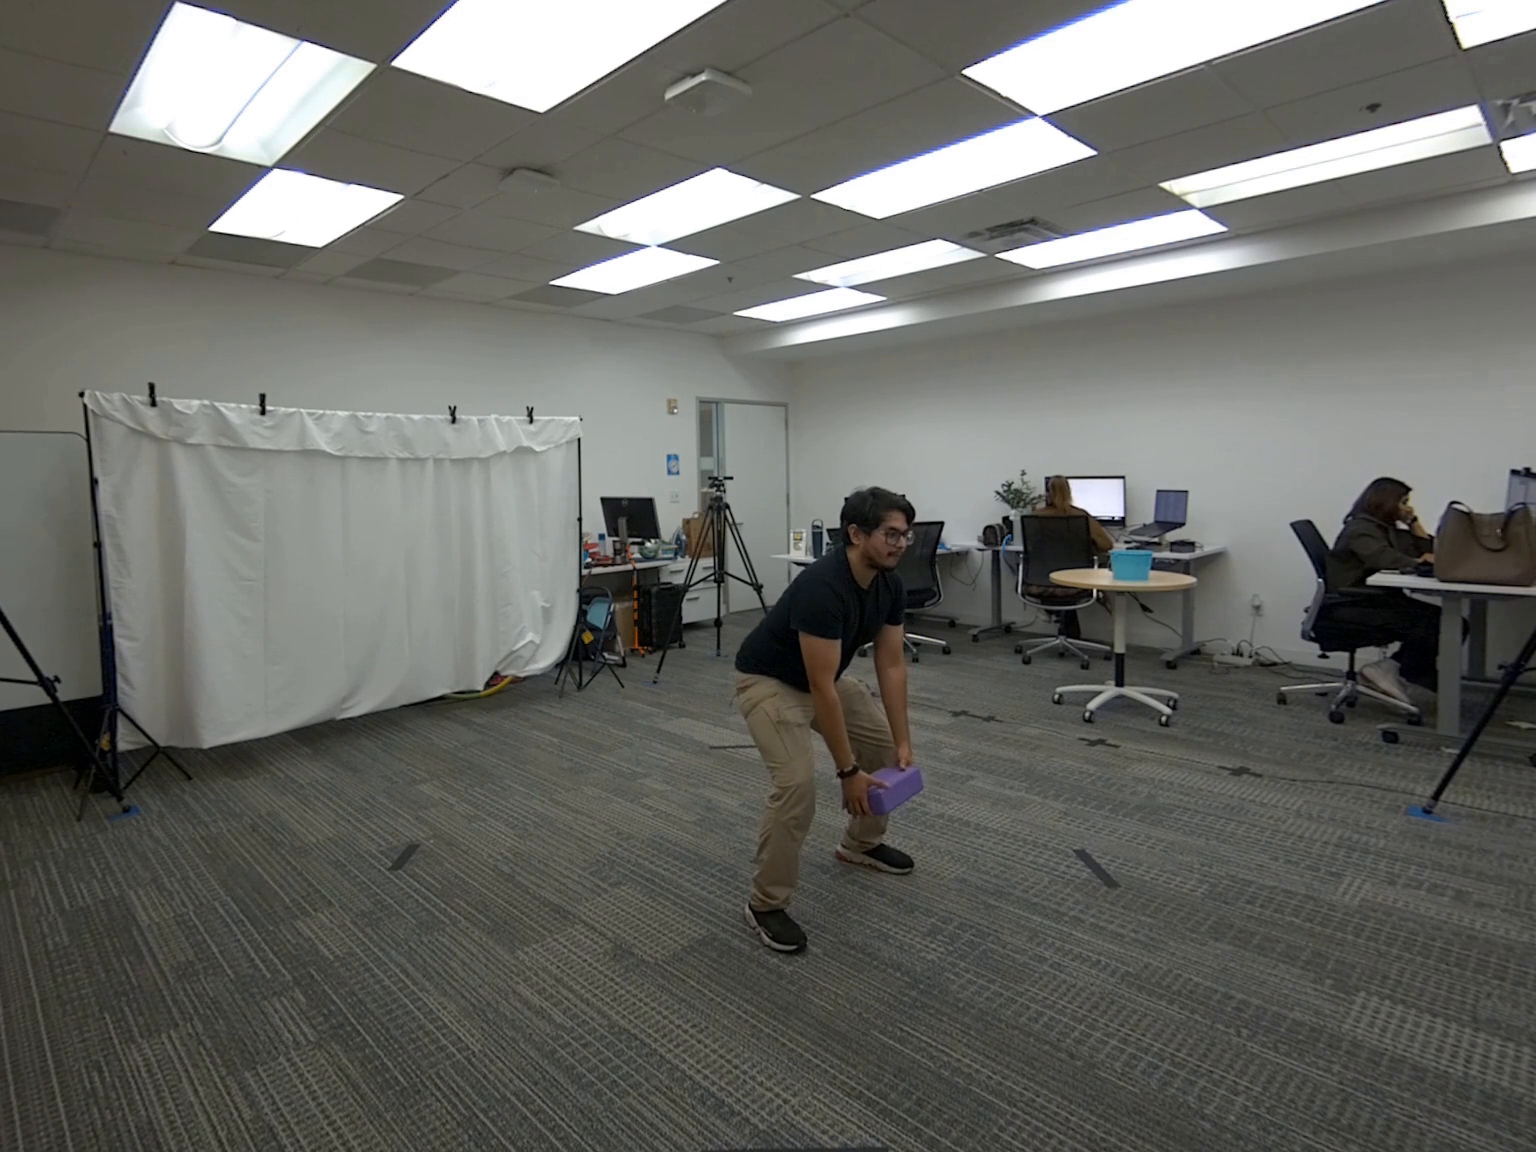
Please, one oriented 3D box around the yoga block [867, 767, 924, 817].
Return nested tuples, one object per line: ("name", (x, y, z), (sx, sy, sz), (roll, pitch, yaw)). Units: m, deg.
("yoga block", (0.350, 0.662, 2.649), (0.152, 0.076, 0.224), (-12, 1, 39))
